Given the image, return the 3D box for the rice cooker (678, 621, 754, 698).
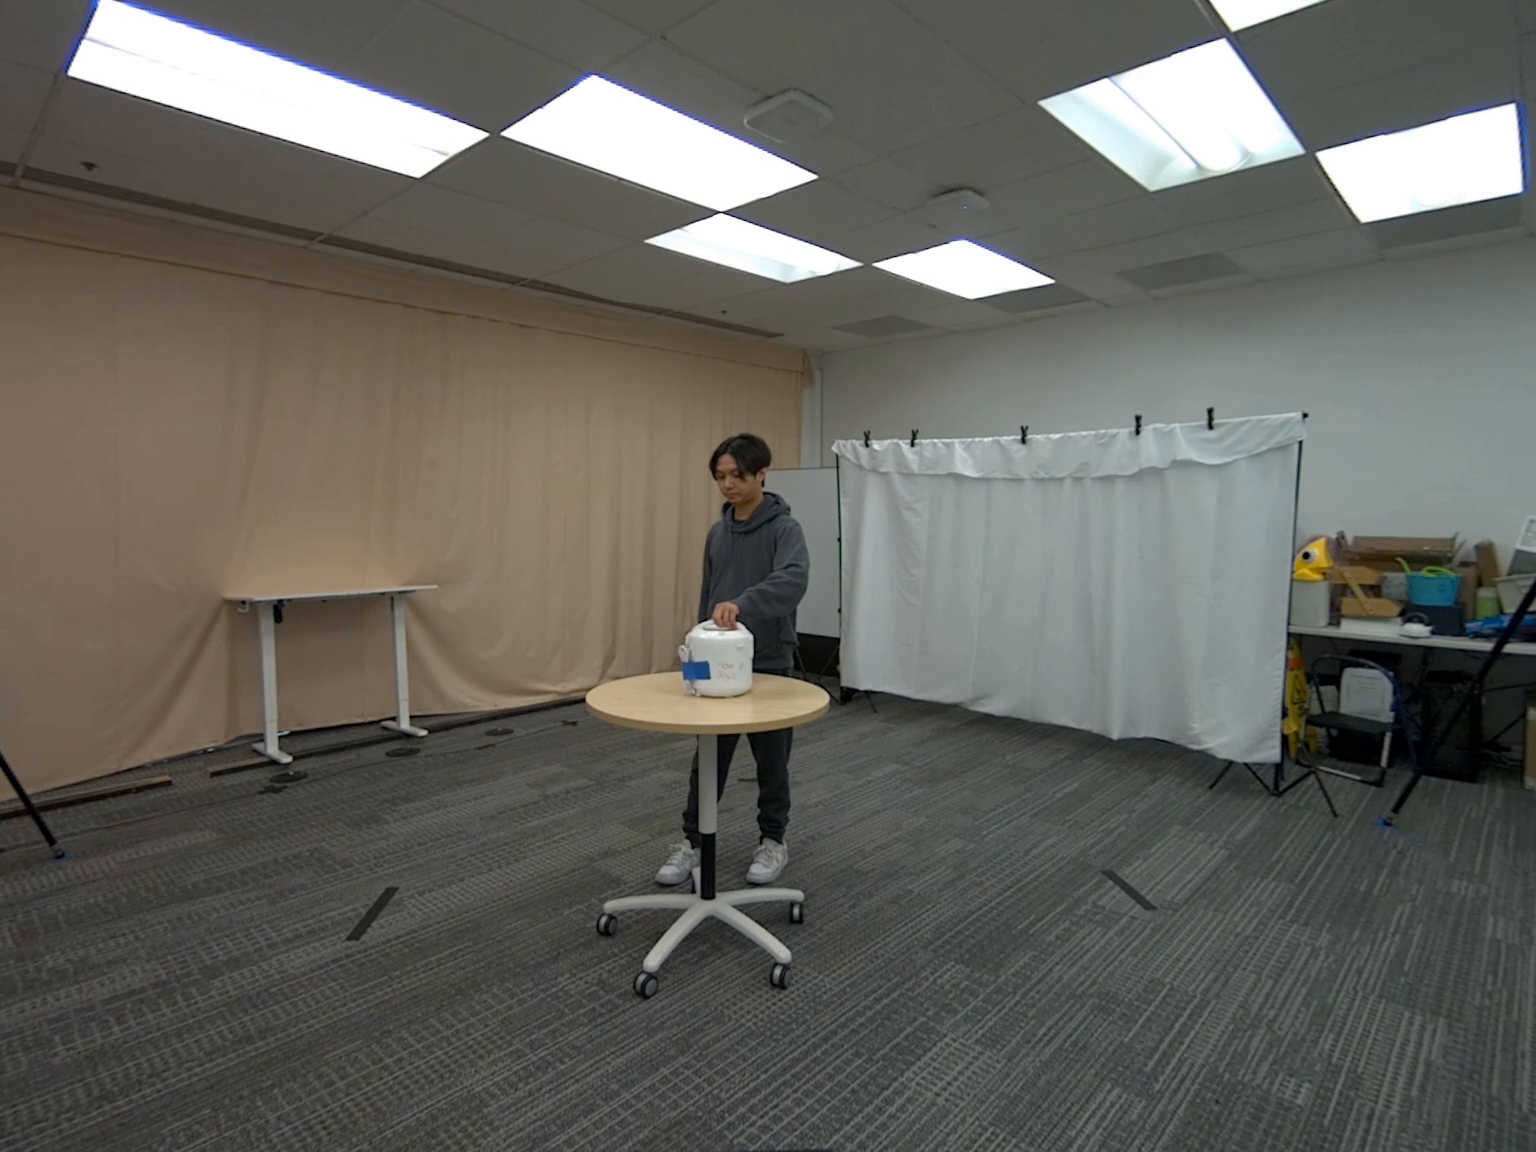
[{"bbox_3d":[-0.154,0.256,2.694,0.224,0.232,0.214,1,4,14],"label":"rice cooker"}]
